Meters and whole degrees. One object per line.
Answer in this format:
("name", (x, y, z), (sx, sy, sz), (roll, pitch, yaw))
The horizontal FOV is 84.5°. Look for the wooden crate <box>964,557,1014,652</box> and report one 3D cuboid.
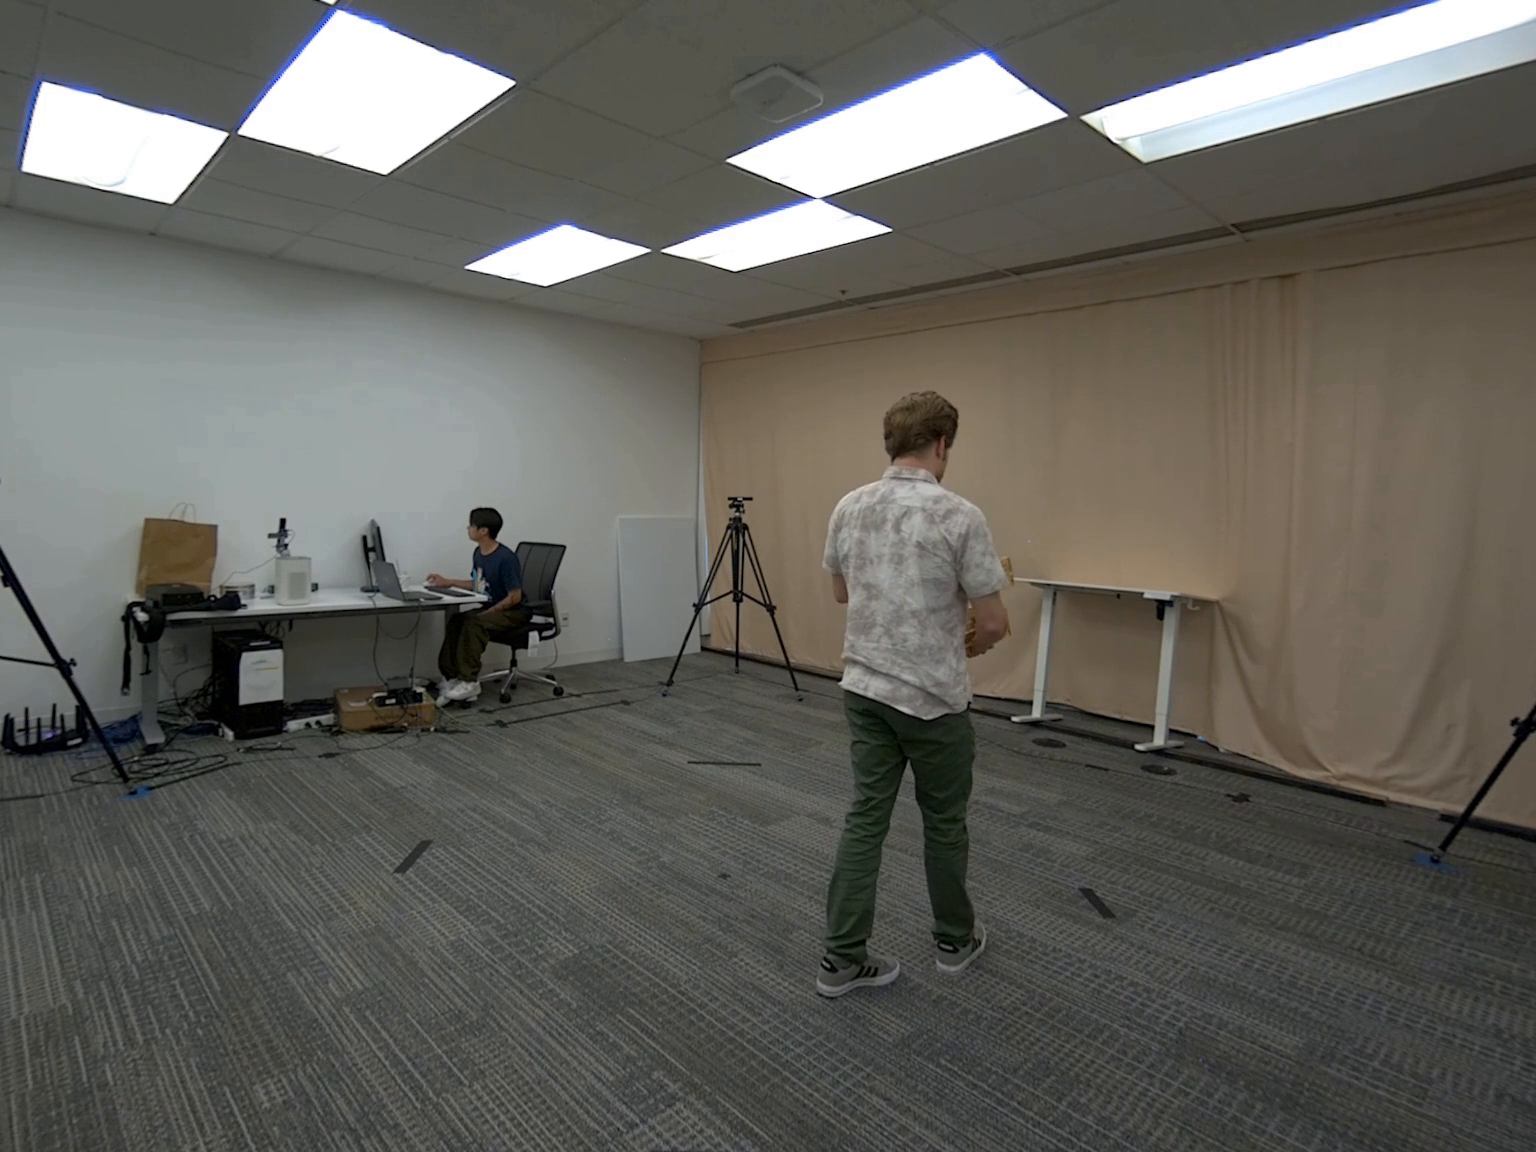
("wooden crate", (0.590, 0.098, 2.719), (0.319, 0.272, 0.308), (-17, 9, -34))
